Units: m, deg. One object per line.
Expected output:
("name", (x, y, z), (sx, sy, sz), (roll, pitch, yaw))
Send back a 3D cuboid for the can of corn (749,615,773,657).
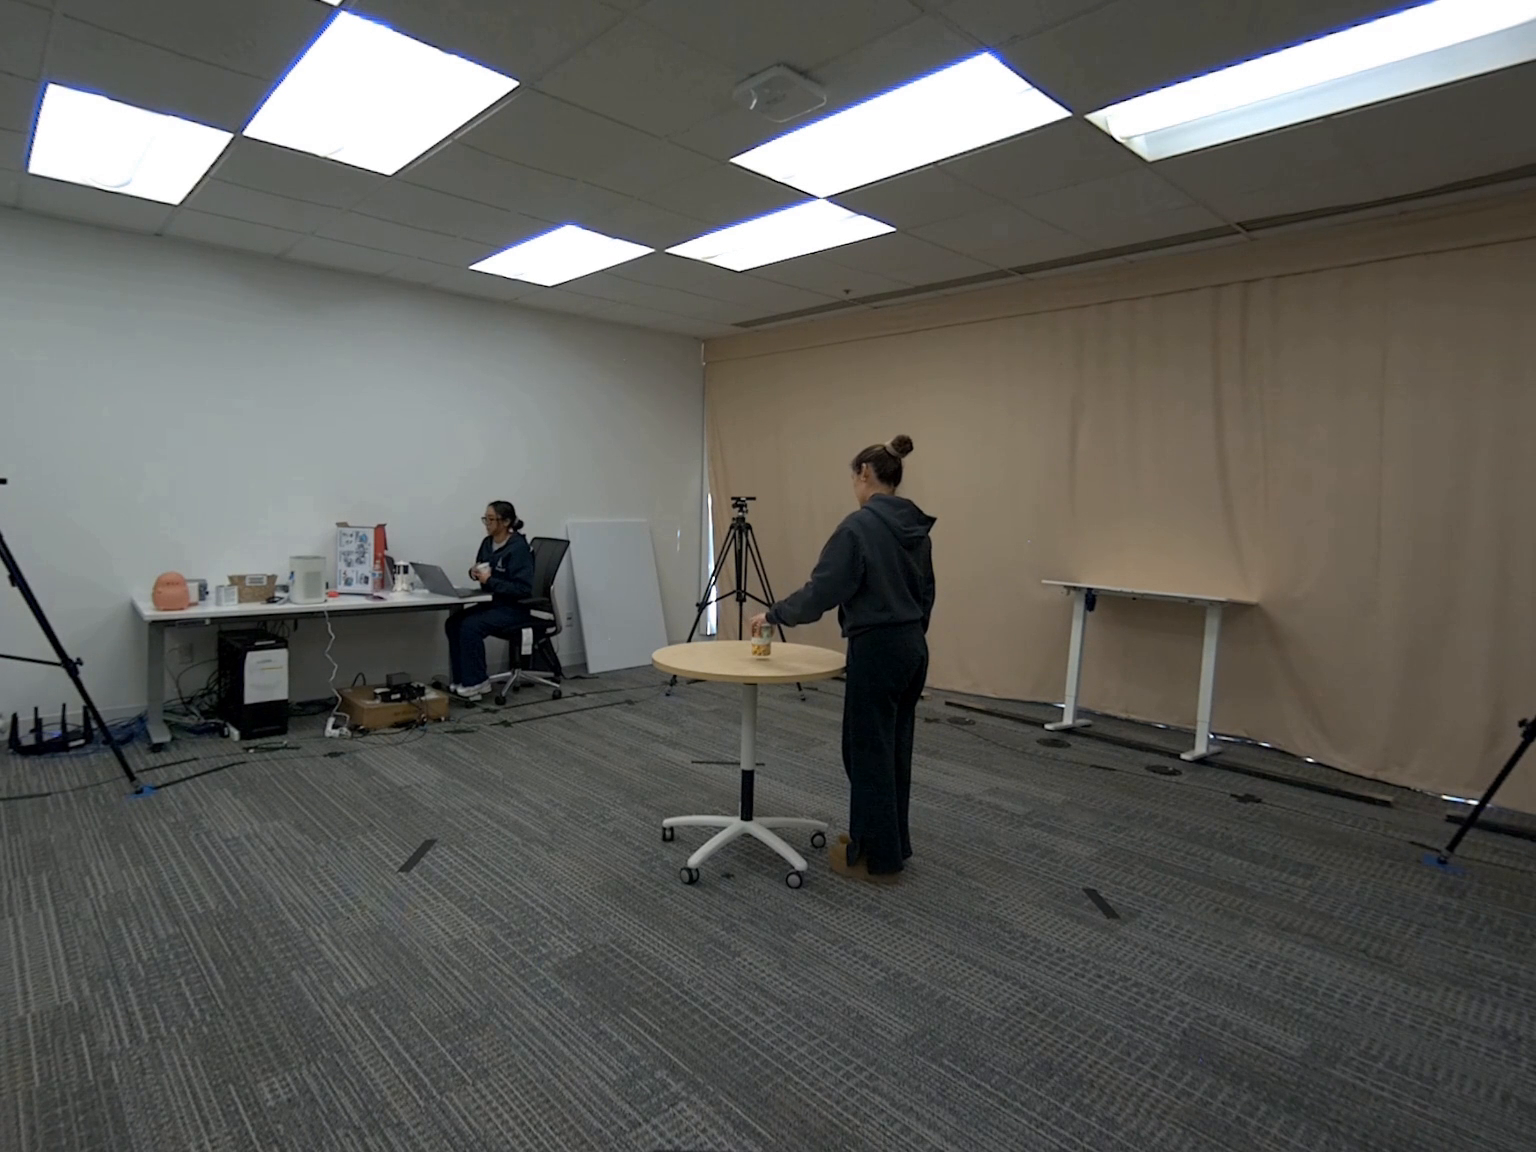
("can of corn", (-0.033, 0.244, 3.192), (0.074, 0.110, 0.075), (2, 8, -2))
